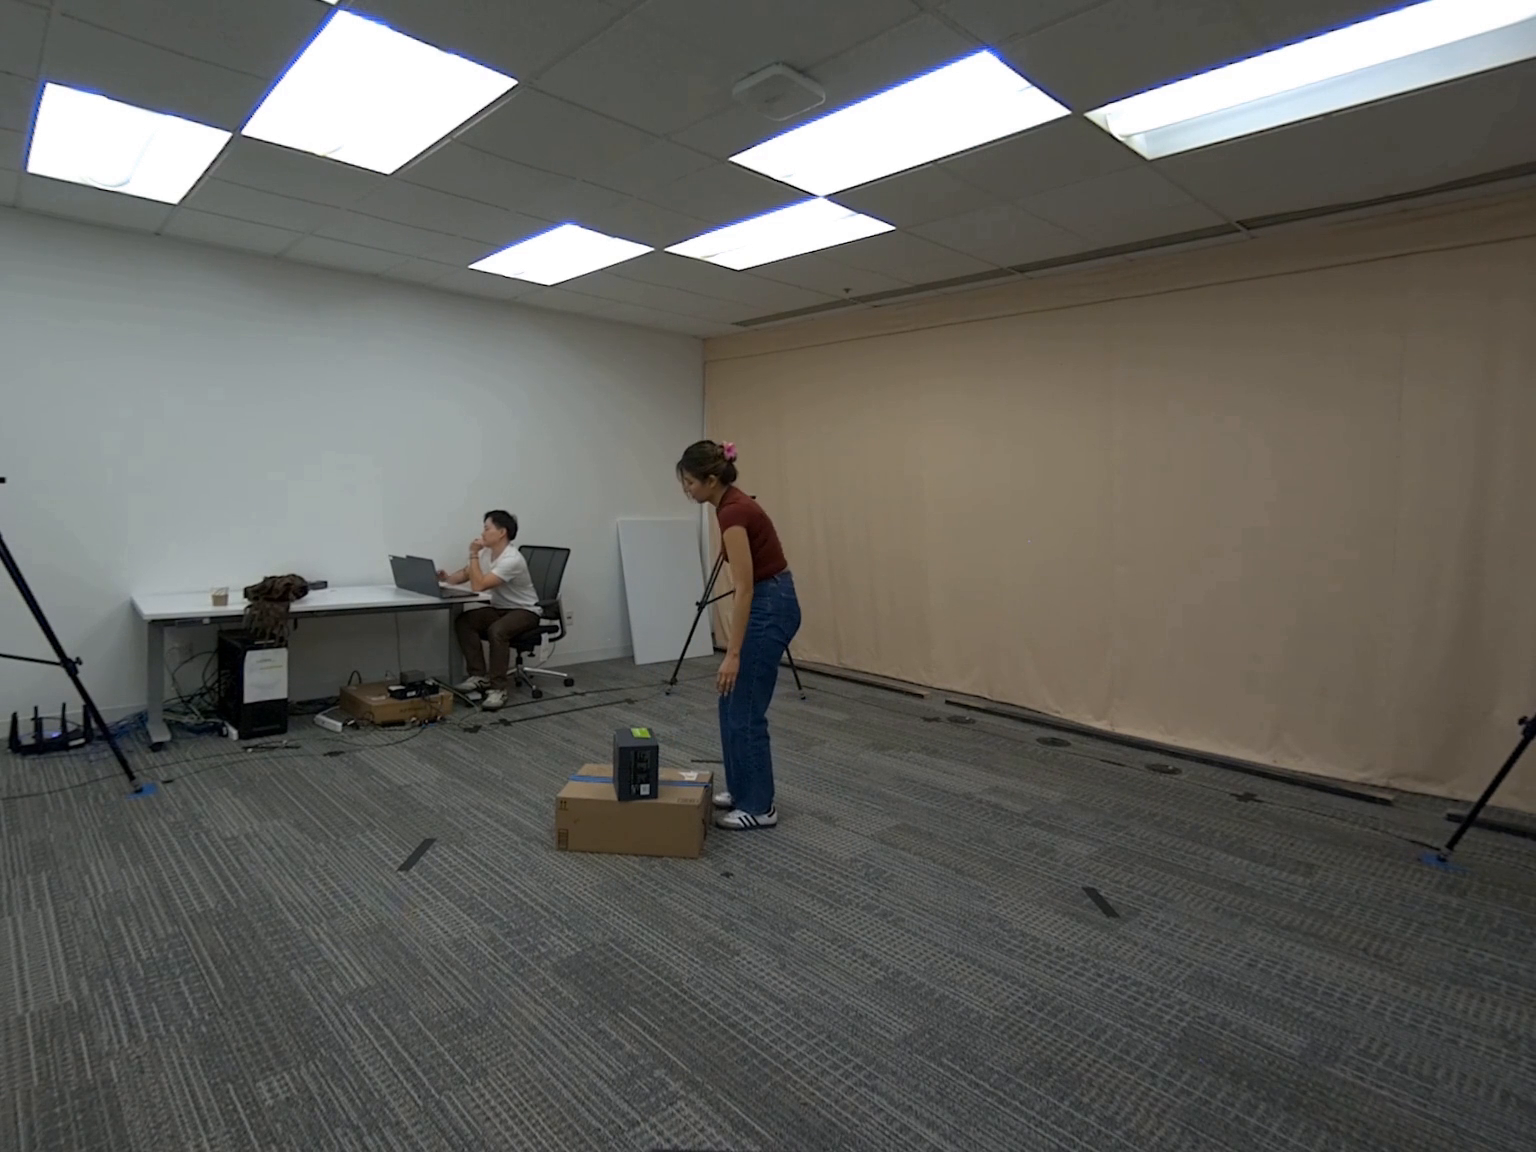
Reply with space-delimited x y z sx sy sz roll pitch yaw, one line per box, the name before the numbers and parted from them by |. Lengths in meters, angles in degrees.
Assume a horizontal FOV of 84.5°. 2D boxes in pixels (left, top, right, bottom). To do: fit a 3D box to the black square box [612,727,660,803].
black square box | -0.526 0.738 3.343 0.154 0.216 0.231 0 6 -14
